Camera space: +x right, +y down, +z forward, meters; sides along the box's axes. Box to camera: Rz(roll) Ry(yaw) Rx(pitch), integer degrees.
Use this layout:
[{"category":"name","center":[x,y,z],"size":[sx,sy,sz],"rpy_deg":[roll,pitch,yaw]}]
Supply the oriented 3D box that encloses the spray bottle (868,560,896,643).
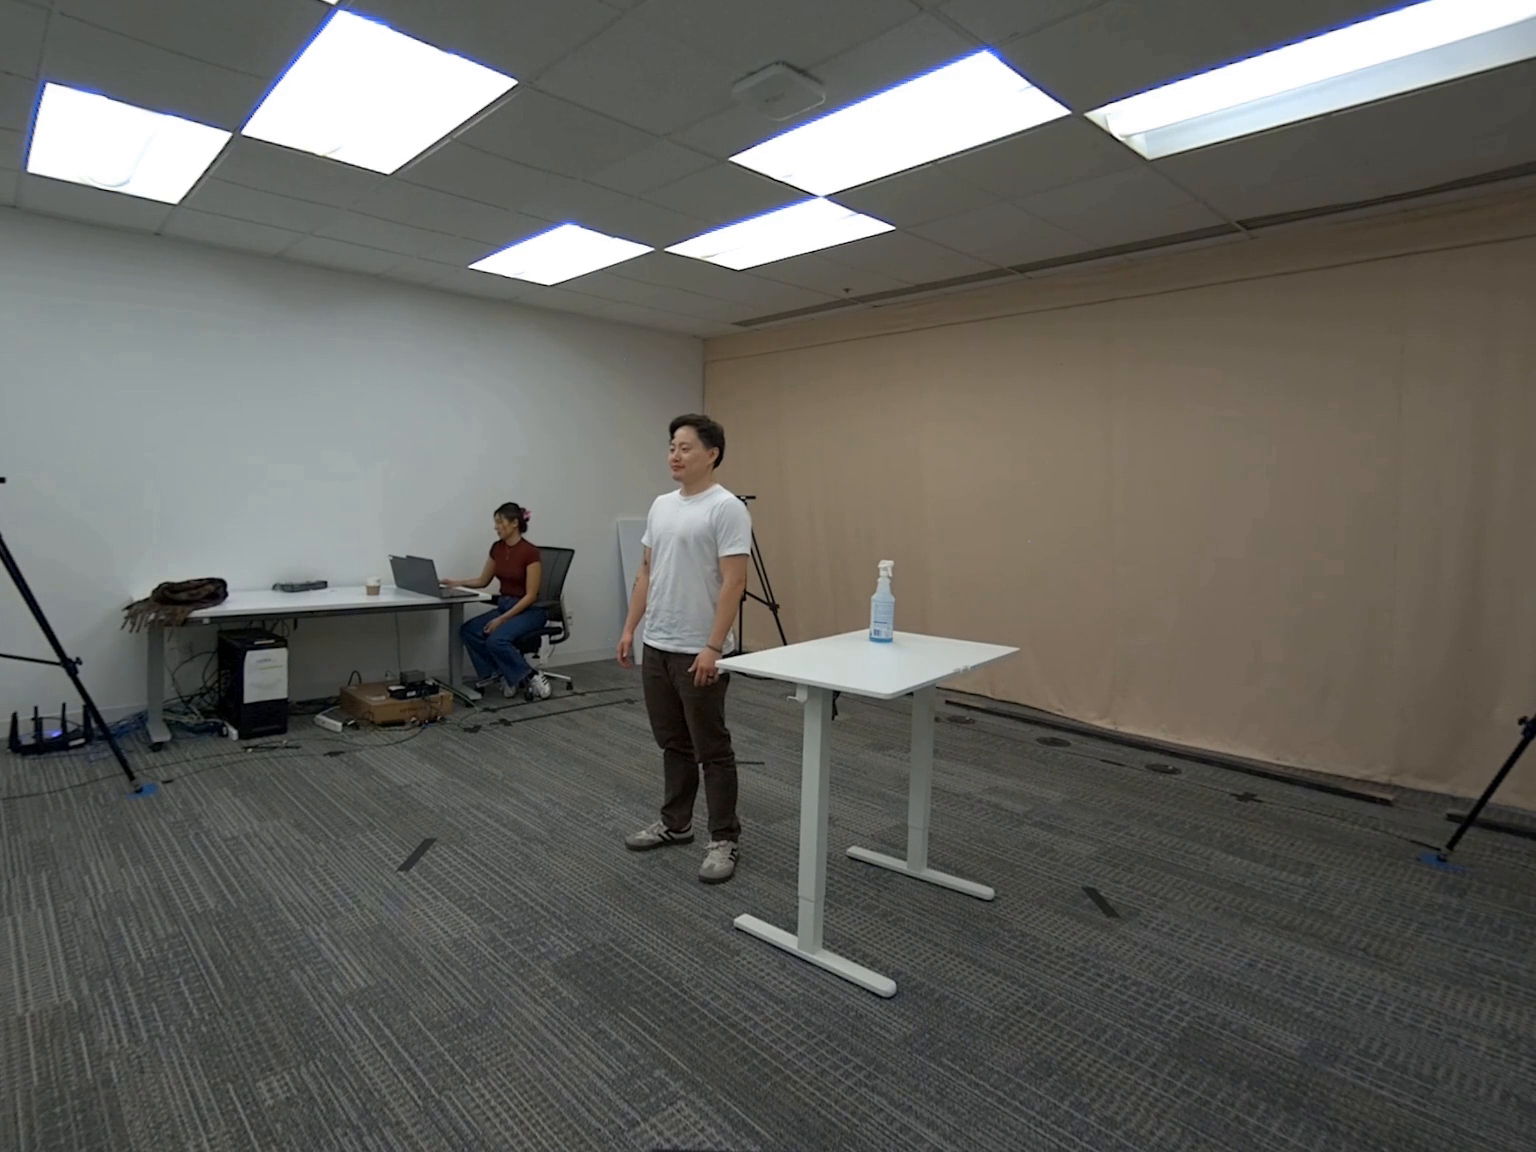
[{"category":"spray bottle","center":[0.410,0.090,3.064],"size":[0.087,0.296,0.090],"rpy_deg":[2,5,5]}]
